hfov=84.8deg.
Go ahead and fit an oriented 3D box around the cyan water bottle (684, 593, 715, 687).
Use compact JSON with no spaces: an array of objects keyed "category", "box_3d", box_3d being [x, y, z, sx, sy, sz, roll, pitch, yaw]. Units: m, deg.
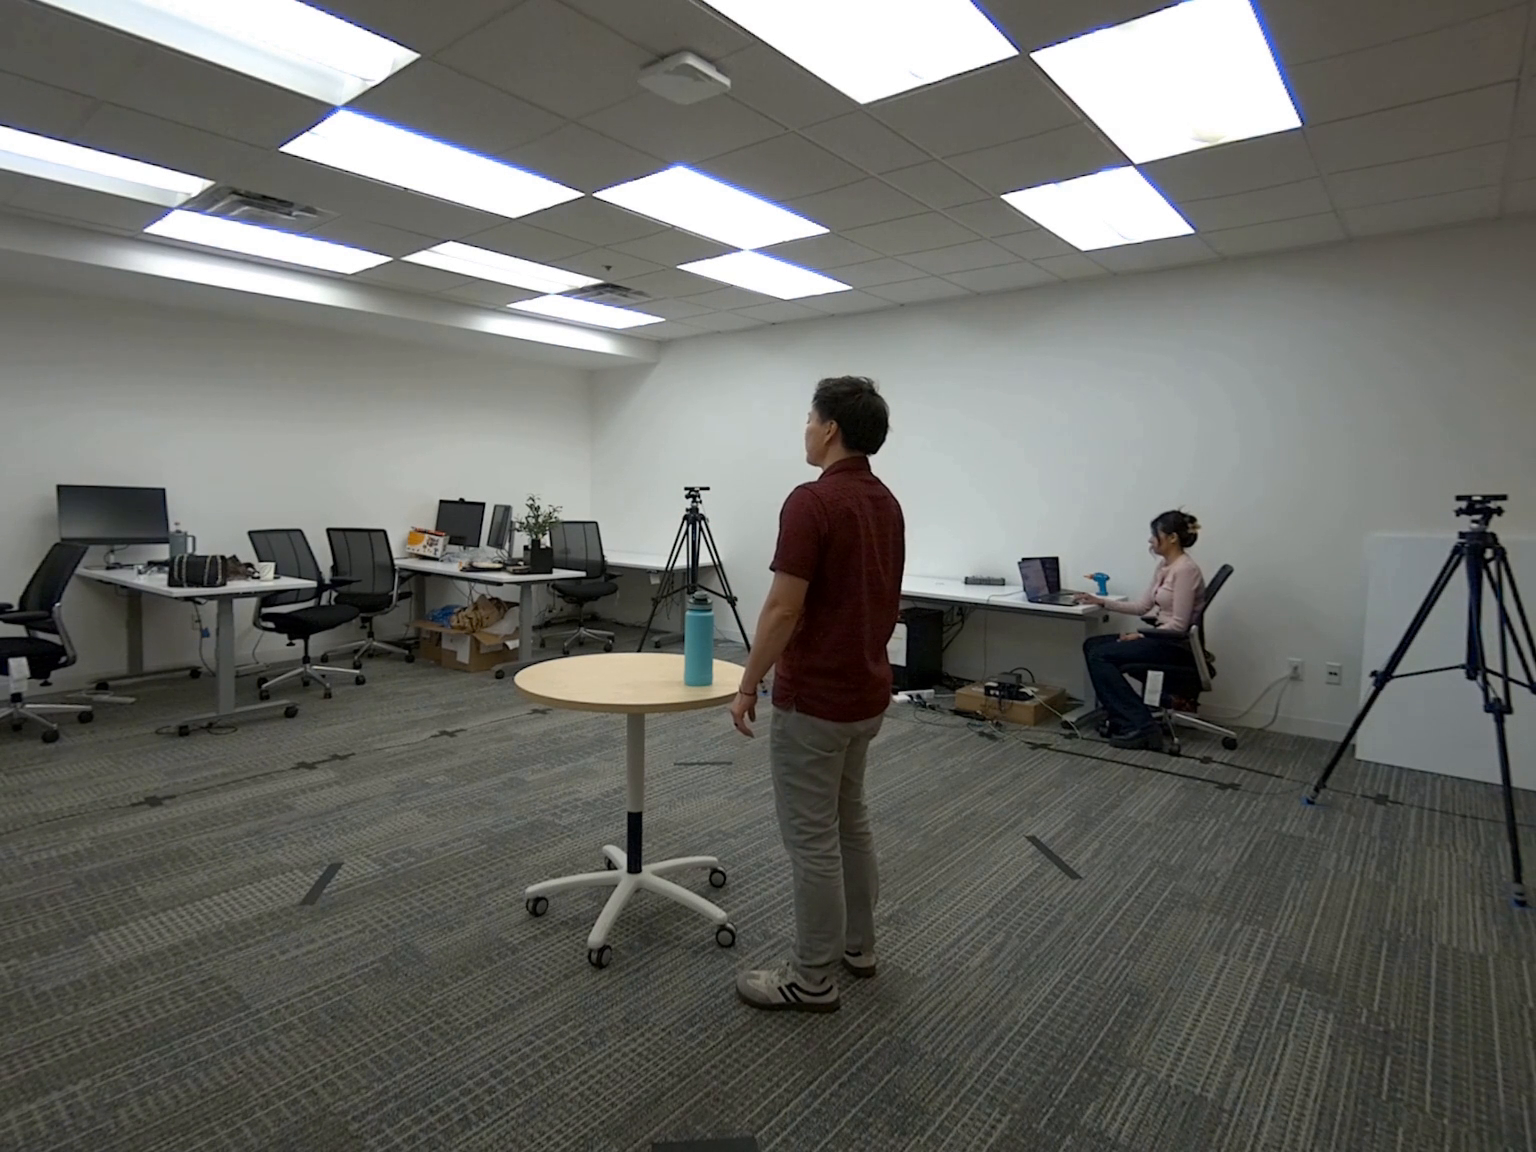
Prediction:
[{"category":"cyan water bottle","box_3d":[-0.222,0.191,2.620,0.092,0.282,0.093,0,3,-2]}]
